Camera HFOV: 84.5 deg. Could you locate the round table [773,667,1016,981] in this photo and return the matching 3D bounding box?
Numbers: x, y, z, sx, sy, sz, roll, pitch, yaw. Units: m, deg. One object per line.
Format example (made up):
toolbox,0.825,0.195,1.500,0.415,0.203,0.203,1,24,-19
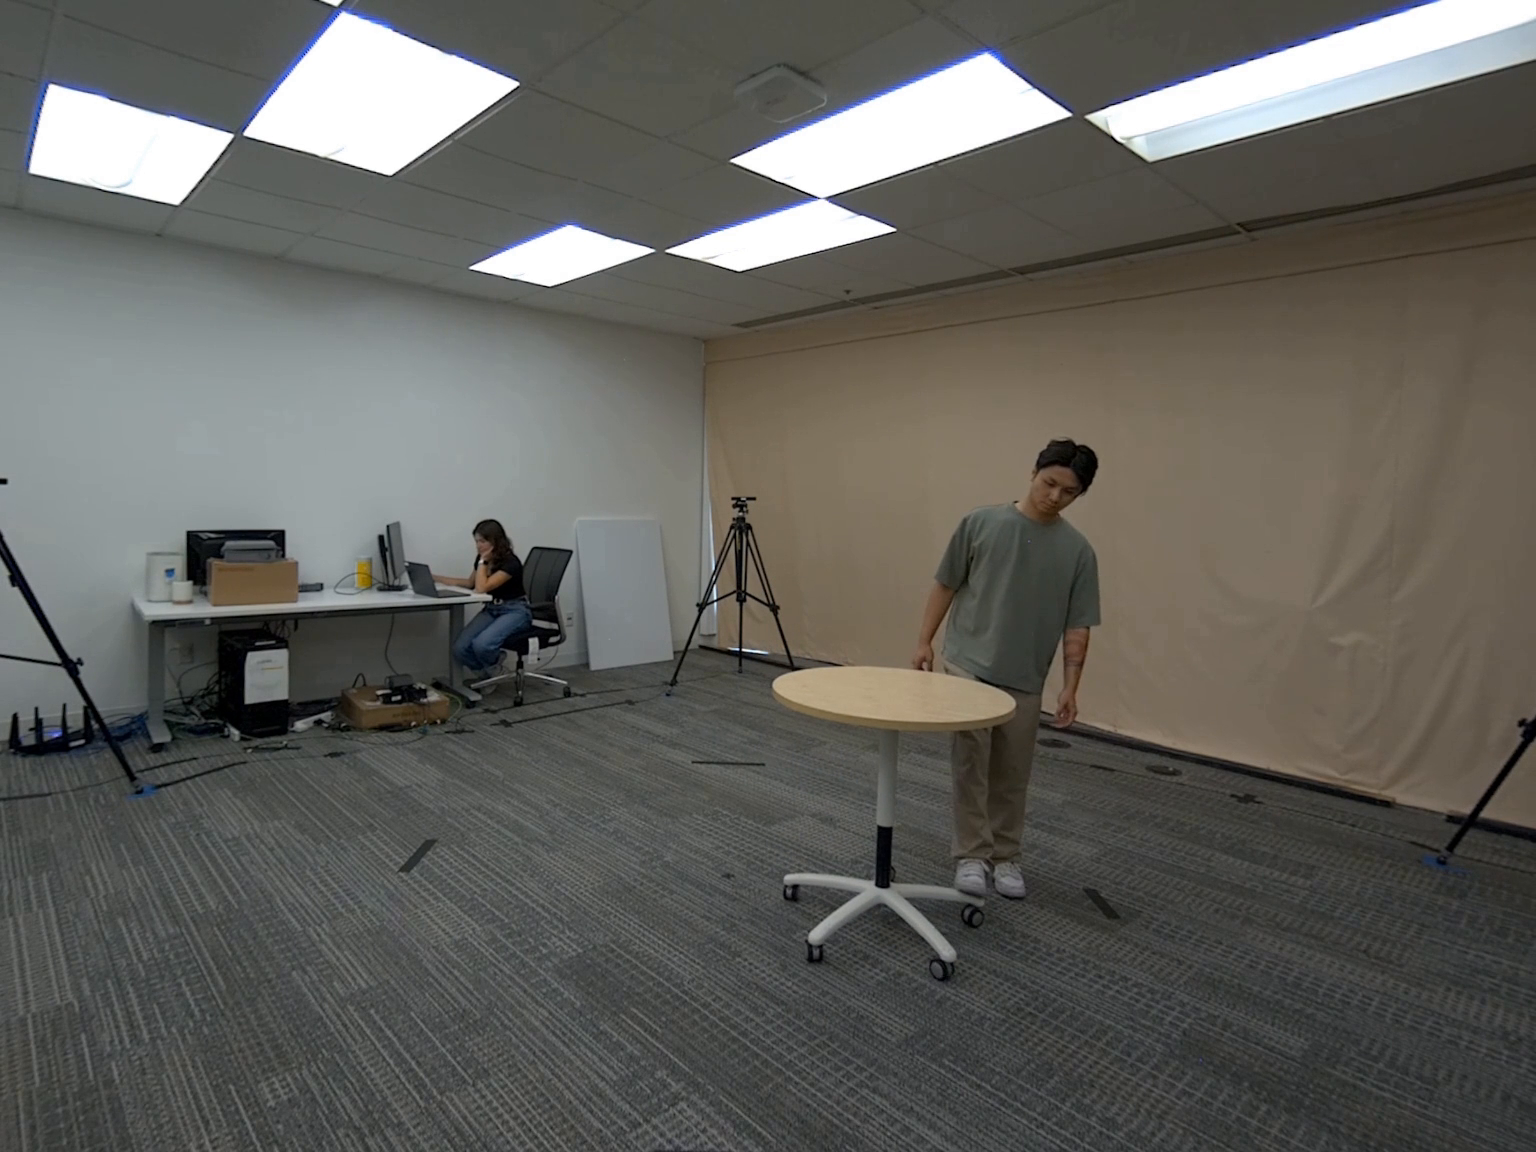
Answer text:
round table,0.378,0.757,2.748,0.784,0.784,0.788,2,4,-2
